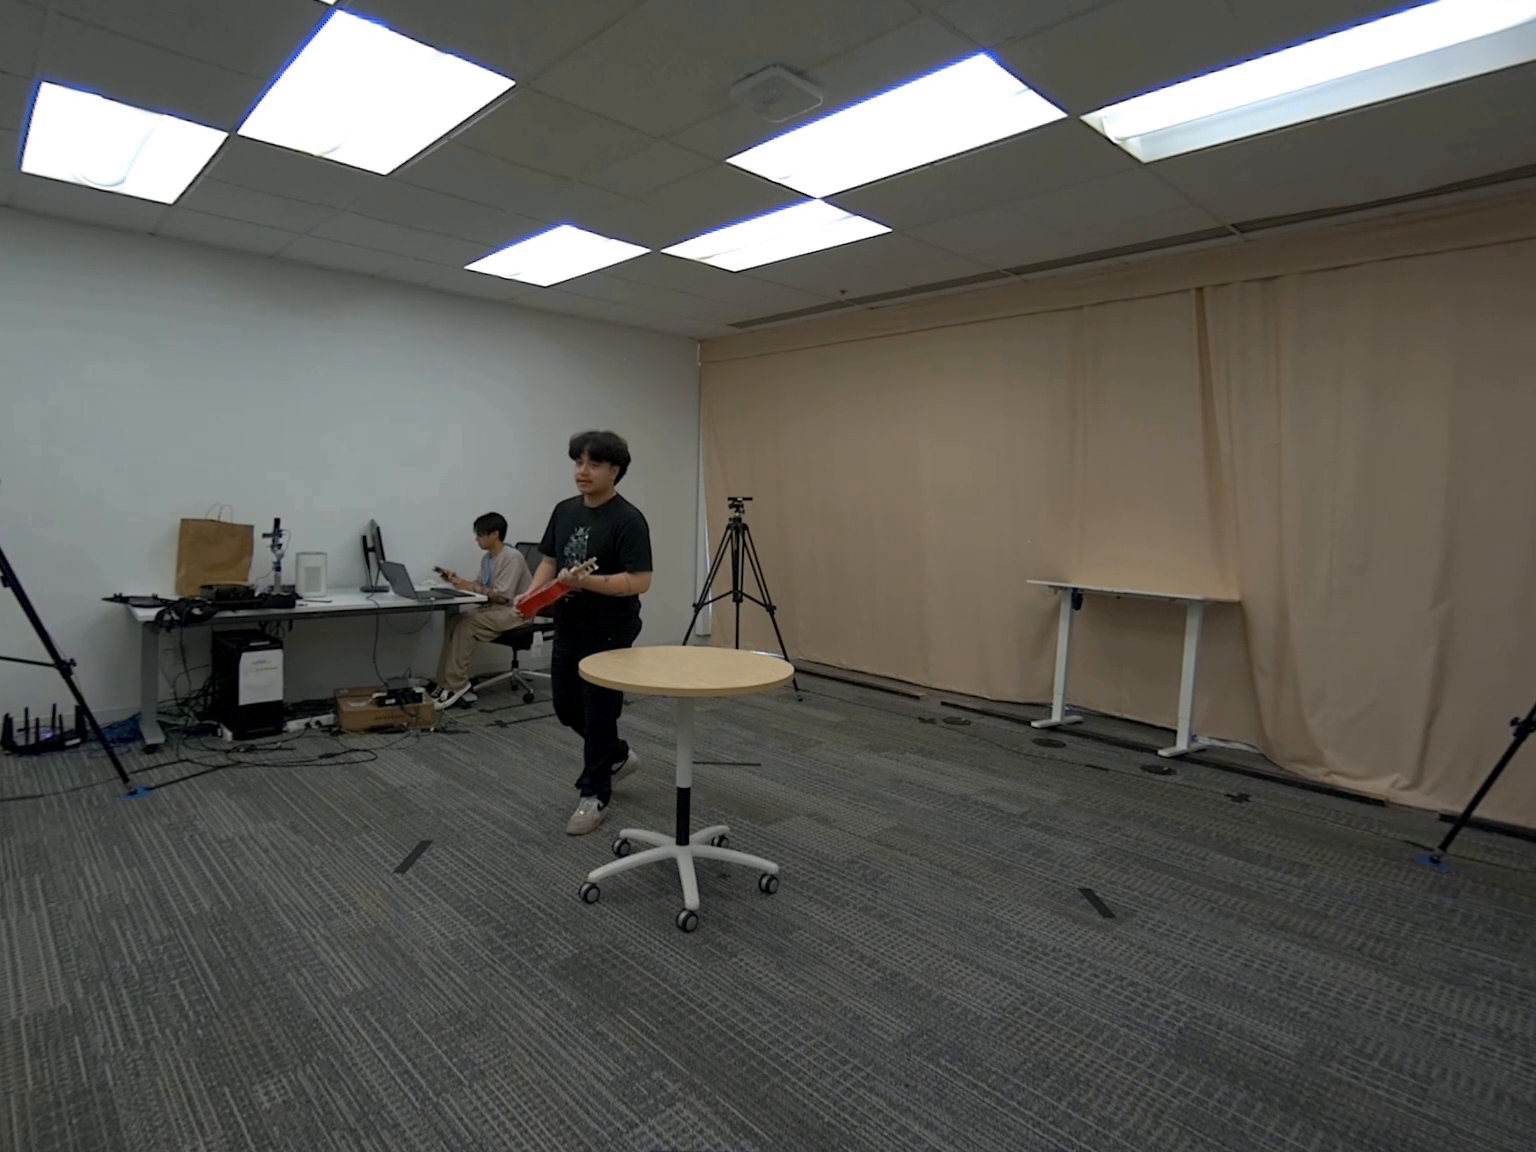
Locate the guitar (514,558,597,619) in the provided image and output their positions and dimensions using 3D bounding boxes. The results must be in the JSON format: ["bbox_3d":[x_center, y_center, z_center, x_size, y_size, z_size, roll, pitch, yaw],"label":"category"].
[{"bbox_3d":[-0.839,0.051,3.293,0.192,0.070,0.504,-43,14,-36],"label":"guitar"}]
